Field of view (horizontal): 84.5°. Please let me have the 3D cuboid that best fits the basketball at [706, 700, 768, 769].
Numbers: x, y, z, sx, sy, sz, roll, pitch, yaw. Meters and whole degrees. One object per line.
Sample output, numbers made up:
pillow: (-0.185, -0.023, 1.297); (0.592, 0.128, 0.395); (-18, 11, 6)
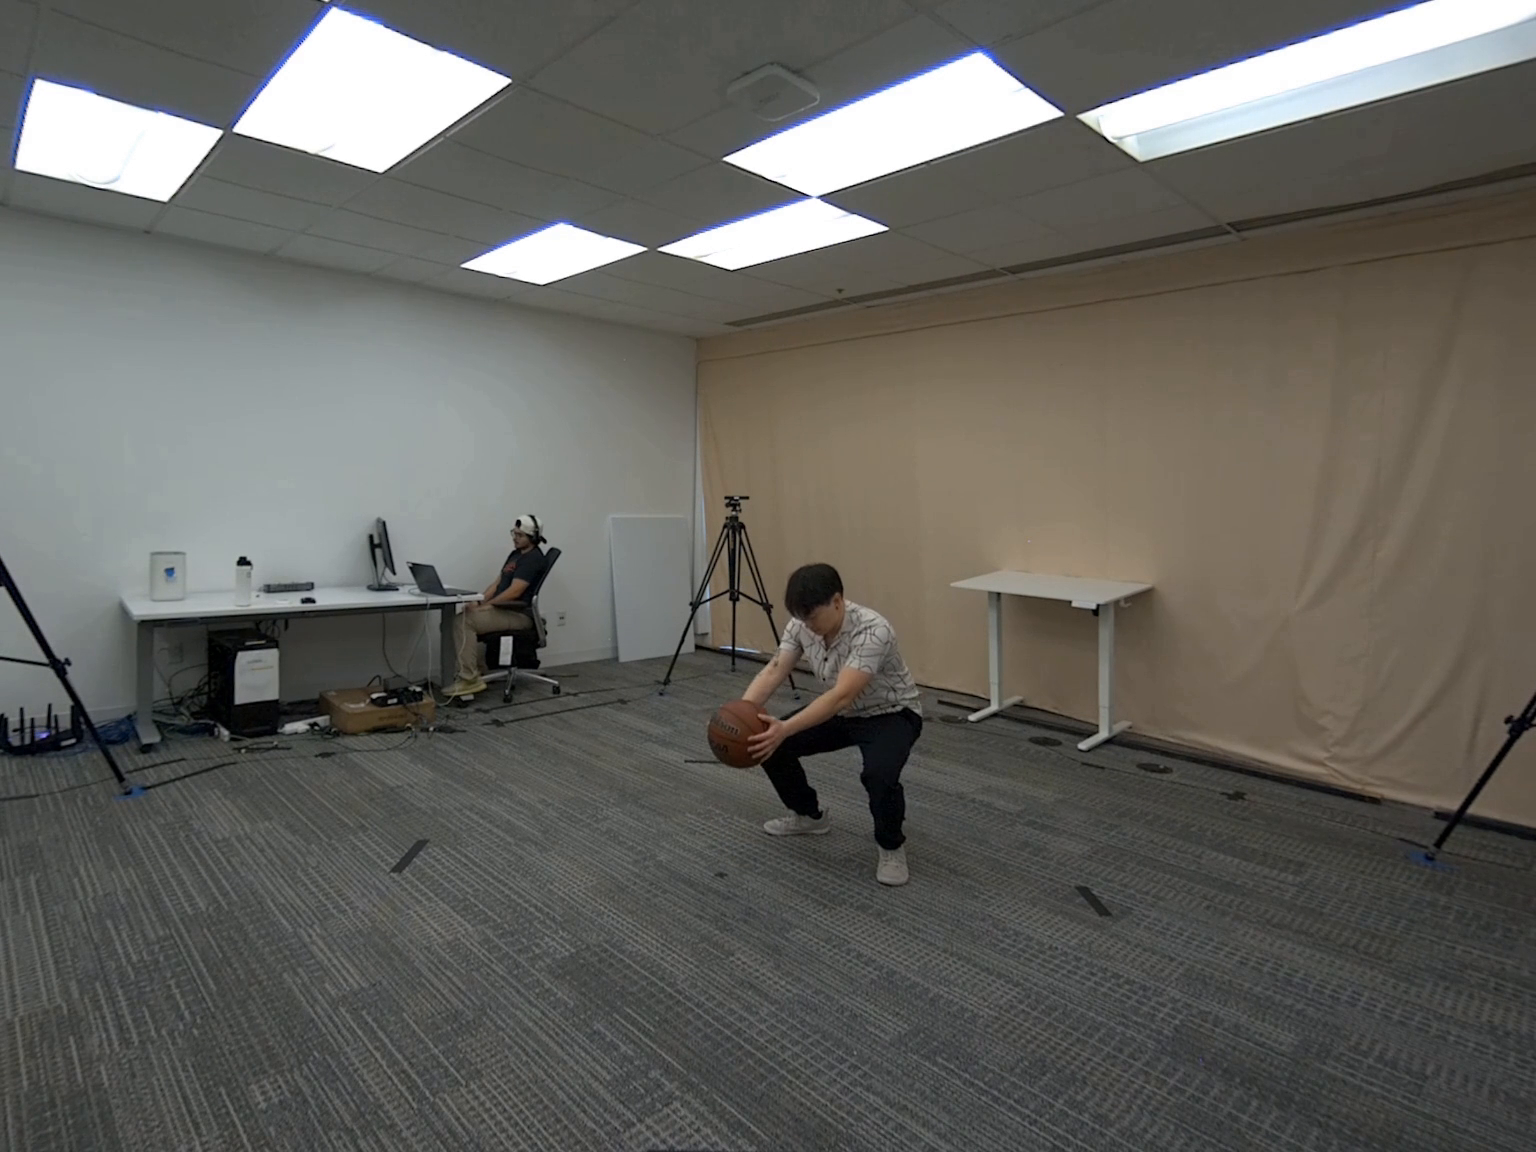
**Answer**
basketball: (-0.102, 0.558, 2.955); (0.236, 0.235, 0.237); (1, 4, -1)
